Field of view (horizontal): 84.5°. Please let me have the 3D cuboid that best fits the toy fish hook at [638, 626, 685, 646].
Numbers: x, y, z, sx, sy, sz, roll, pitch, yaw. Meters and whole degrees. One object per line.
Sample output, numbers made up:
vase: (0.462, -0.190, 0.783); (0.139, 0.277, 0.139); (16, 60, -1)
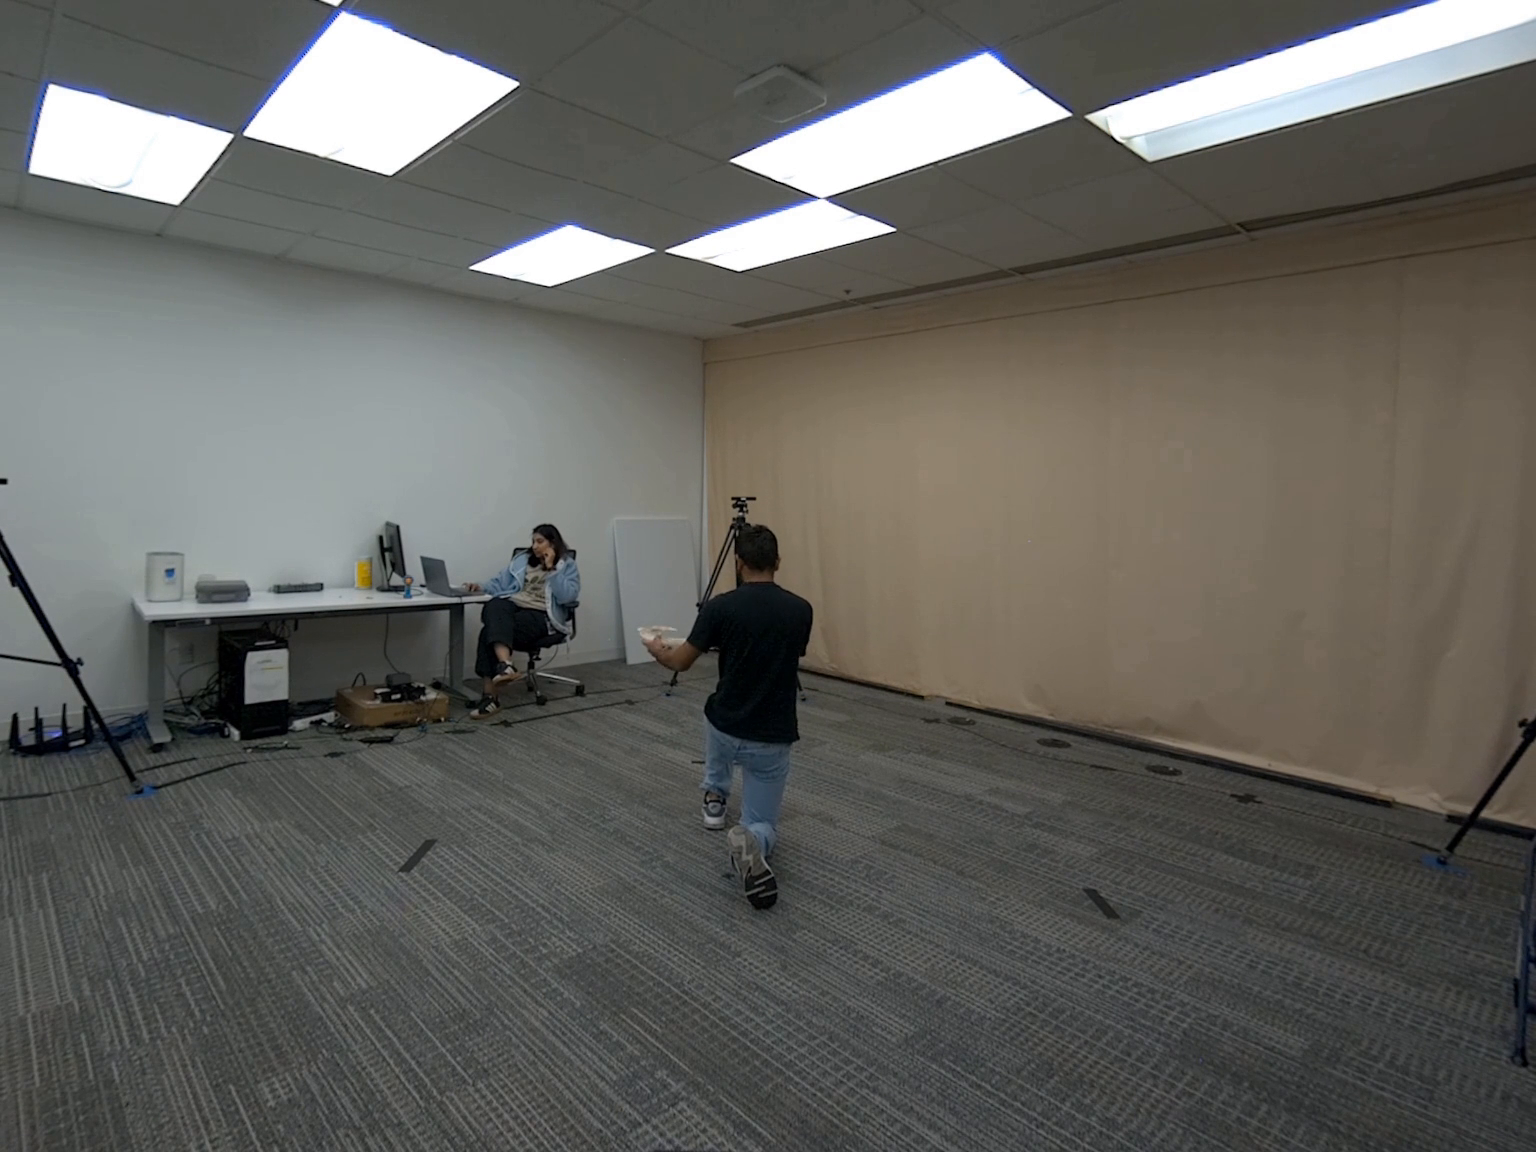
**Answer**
toy fish hook: (-0.311, 0.285, 3.807); (0.498, 0.048, 0.230); (7, 18, -20)
